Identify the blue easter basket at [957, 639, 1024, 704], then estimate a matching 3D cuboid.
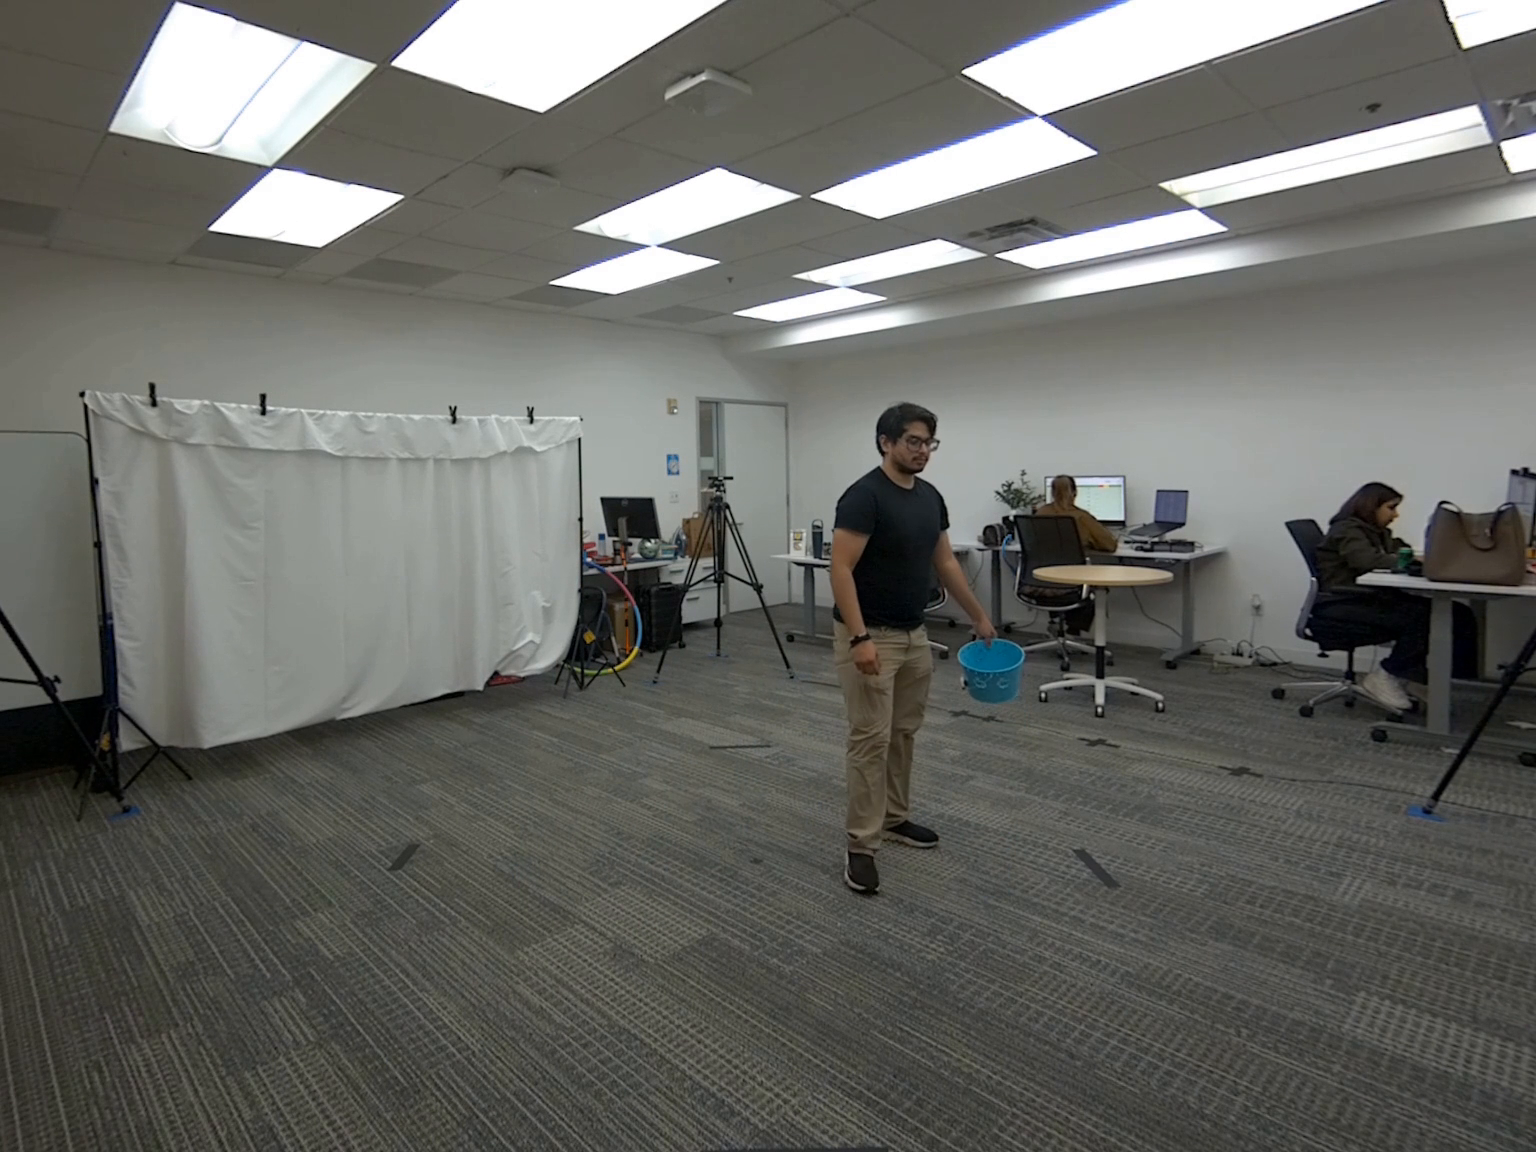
[{"bbox_3d":[0.825,0.361,3.151,0.244,0.152,0.248,-10,23,3],"label":"blue easter basket"}]
